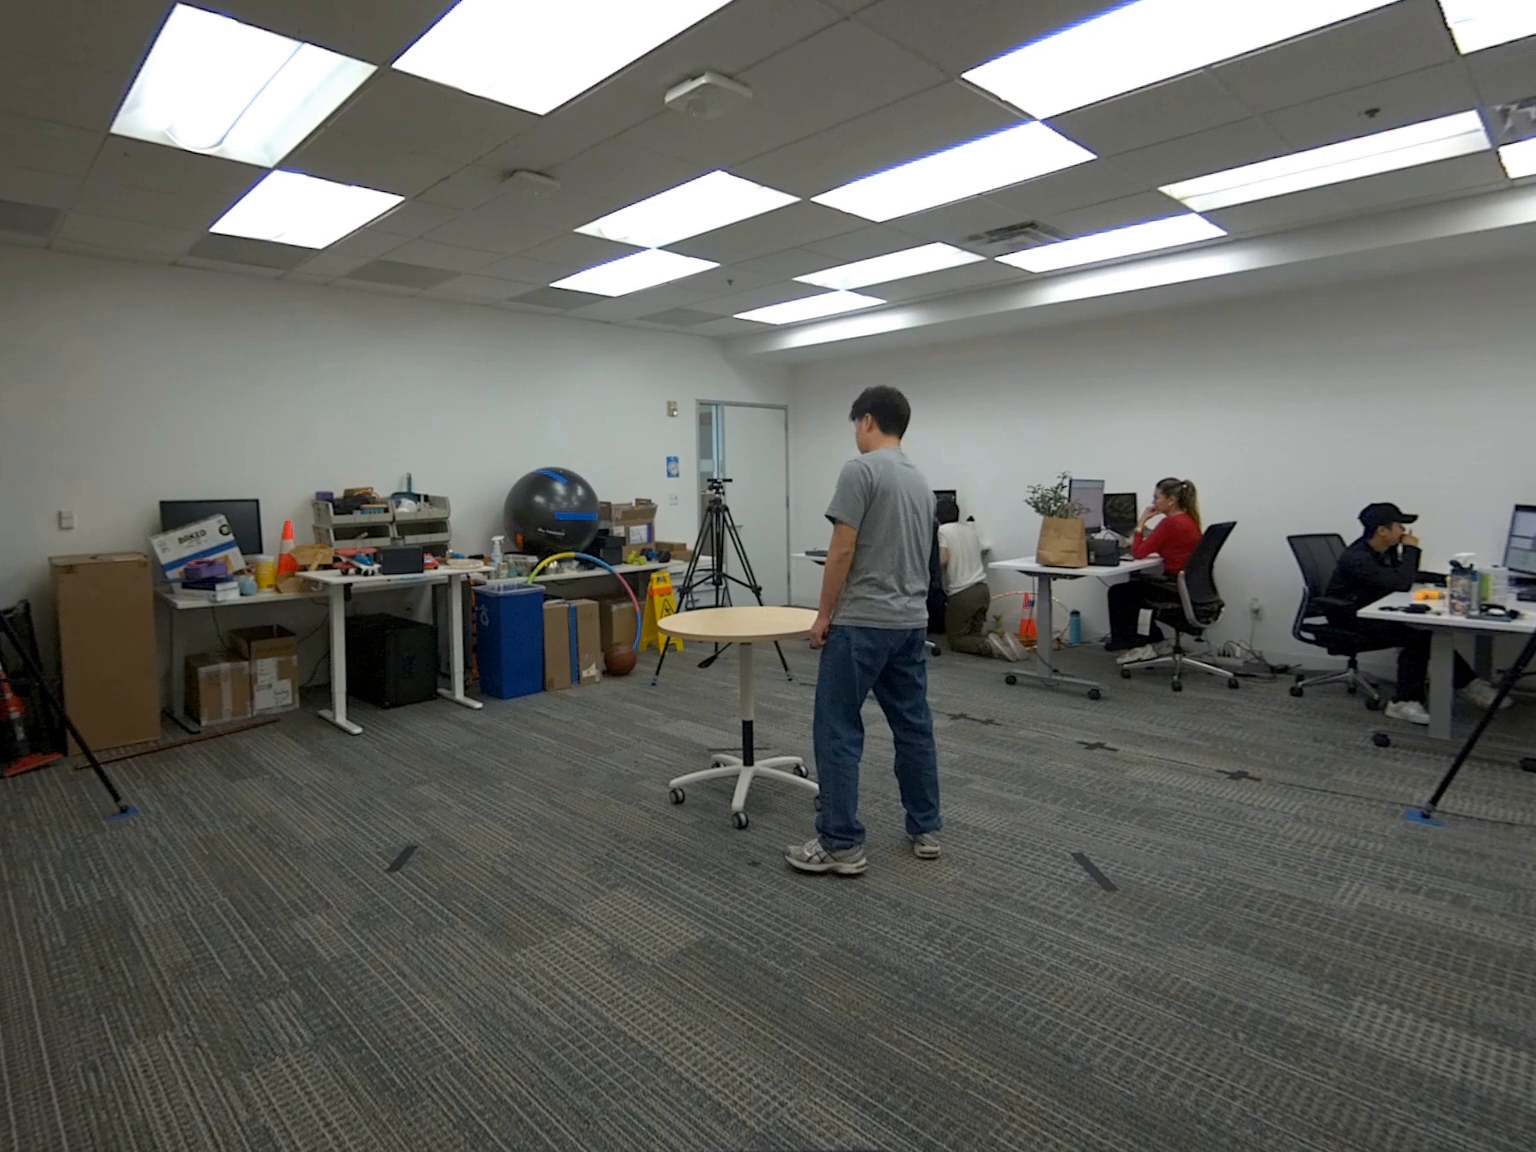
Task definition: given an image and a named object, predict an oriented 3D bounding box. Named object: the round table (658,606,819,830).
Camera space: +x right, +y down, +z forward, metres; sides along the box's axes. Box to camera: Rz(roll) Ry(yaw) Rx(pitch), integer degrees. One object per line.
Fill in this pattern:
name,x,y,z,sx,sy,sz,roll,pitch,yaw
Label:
round table,-0.091,0.585,3.750,0.763,0.791,0.768,-1,4,-2
